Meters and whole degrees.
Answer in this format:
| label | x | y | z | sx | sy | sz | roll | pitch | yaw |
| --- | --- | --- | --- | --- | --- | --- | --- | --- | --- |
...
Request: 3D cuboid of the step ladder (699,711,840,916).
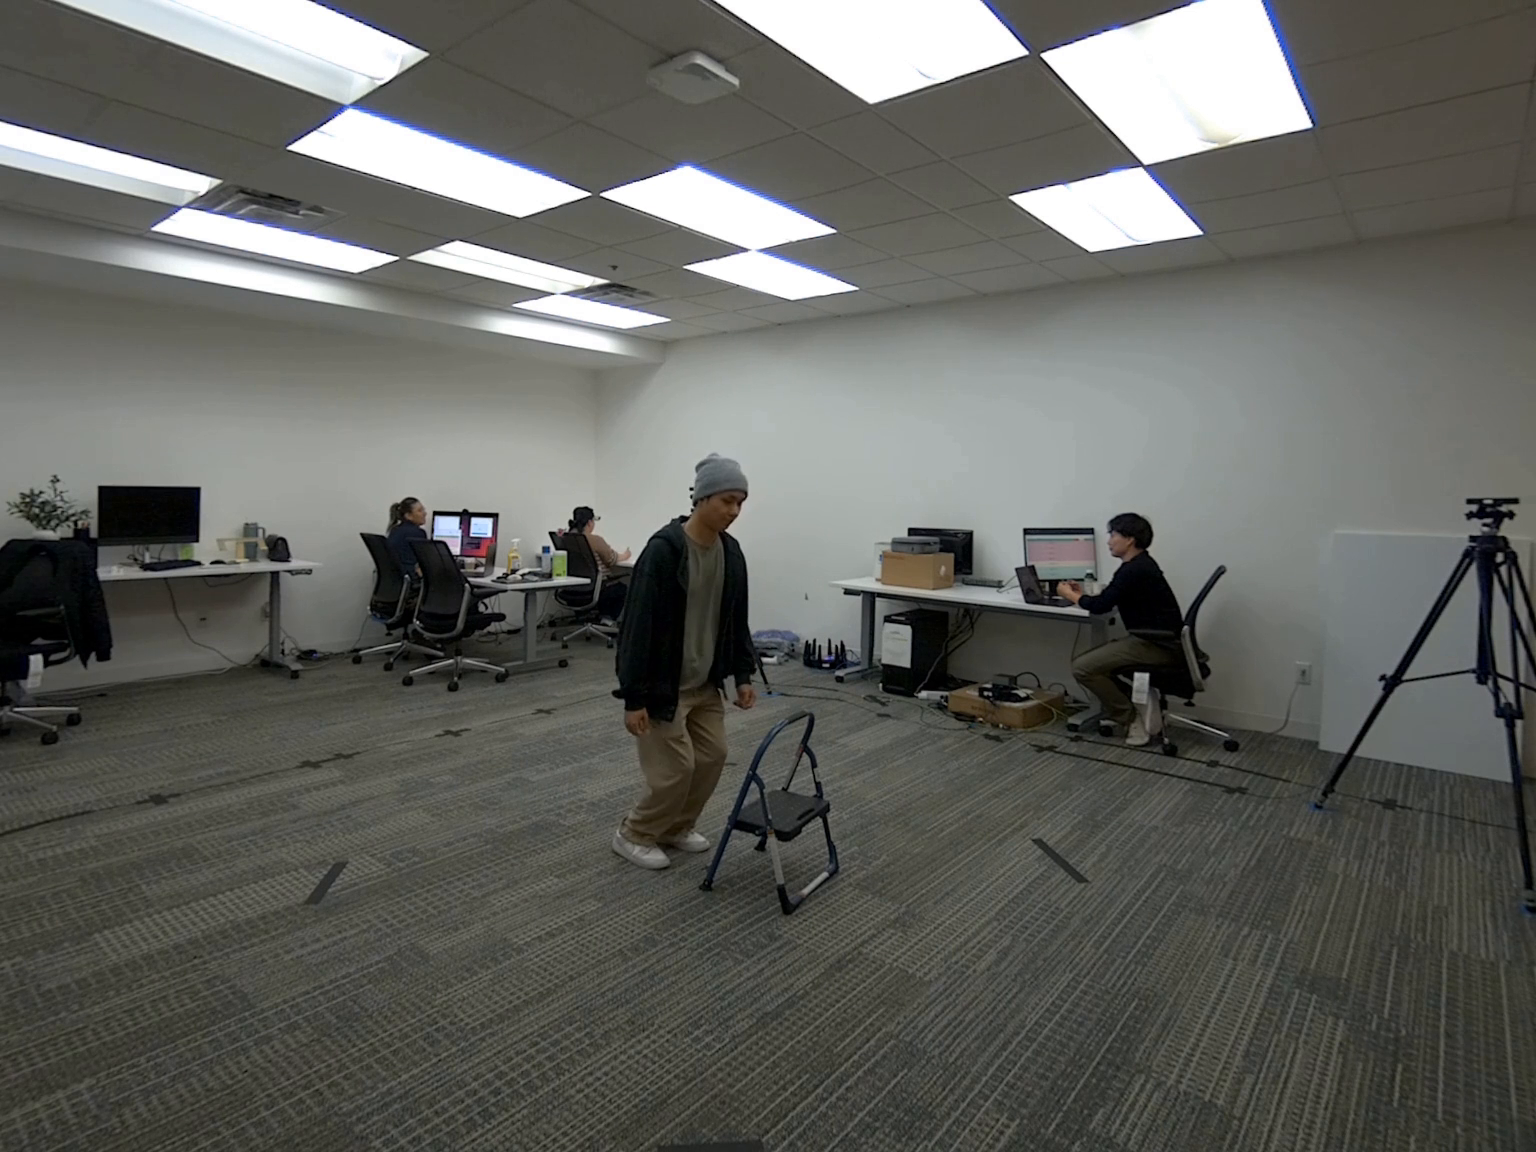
| label | x | y | z | sx | sy | sz | roll | pitch | yaw |
| --- | --- | --- | --- | --- | --- | --- | --- | --- | --- |
| step ladder | 0.016 | 0.777 | 3.017 | 0.359 | 0.604 | 0.419 | 3 | 4 | 29 |
